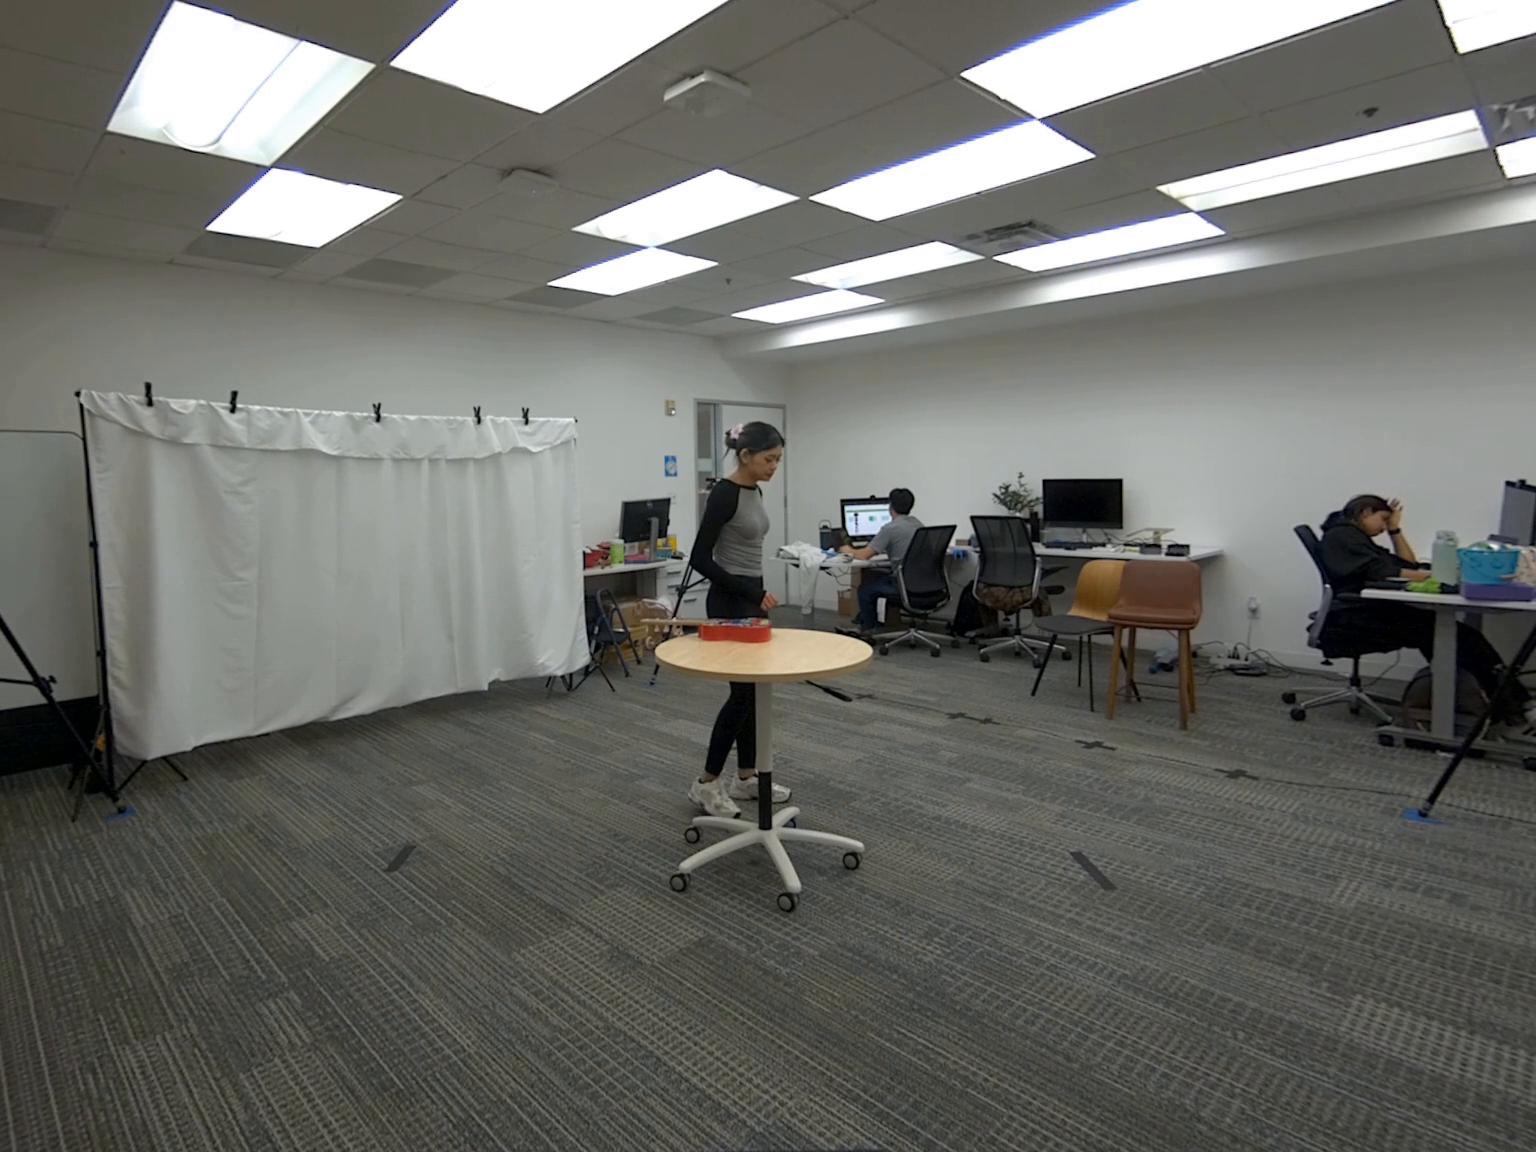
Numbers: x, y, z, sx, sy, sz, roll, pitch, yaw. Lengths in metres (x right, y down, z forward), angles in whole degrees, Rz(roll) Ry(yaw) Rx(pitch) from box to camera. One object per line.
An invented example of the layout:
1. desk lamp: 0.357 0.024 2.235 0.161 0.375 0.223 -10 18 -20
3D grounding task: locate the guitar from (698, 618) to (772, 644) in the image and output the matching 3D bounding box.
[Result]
1. guitar: -0.229 0.200 3.264 0.505 0.070 0.191 2 7 13
